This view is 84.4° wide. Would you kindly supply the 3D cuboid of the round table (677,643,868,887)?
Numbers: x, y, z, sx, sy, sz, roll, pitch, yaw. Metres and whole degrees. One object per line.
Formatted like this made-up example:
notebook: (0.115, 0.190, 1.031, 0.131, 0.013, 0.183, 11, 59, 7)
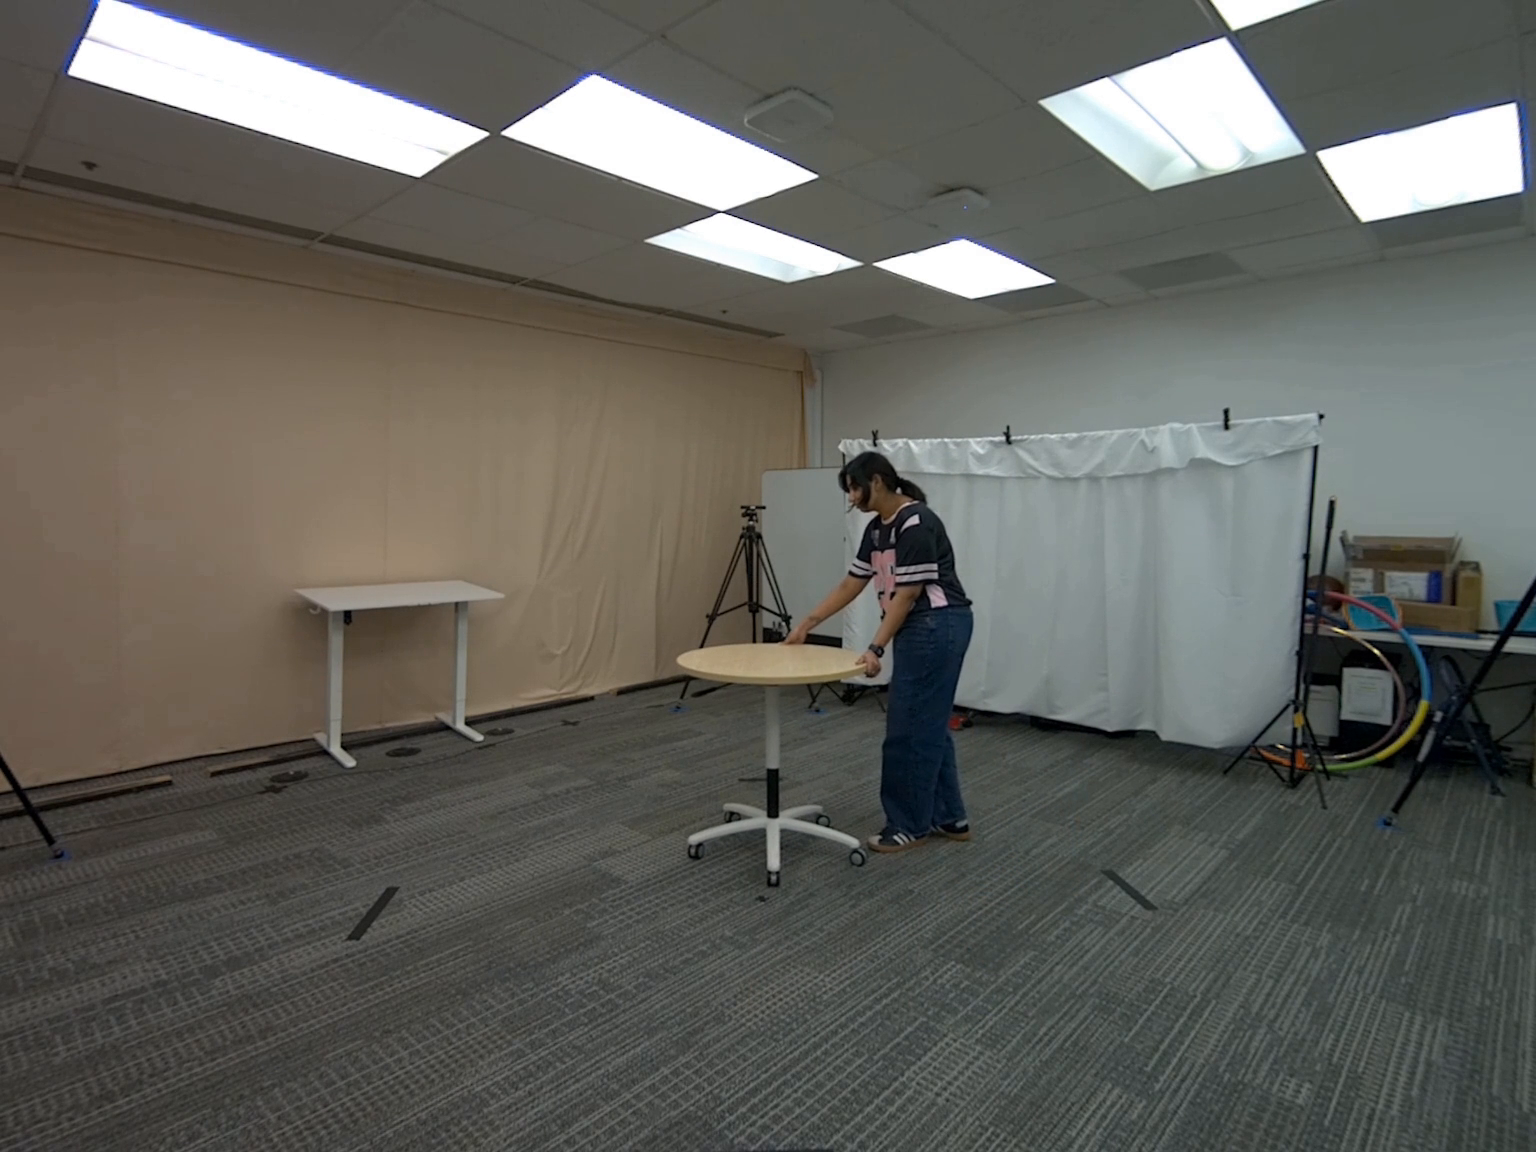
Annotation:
round table: (0.036, 0.718, 3.372, 0.784, 0.785, 0.788, 0, 3, -2)
